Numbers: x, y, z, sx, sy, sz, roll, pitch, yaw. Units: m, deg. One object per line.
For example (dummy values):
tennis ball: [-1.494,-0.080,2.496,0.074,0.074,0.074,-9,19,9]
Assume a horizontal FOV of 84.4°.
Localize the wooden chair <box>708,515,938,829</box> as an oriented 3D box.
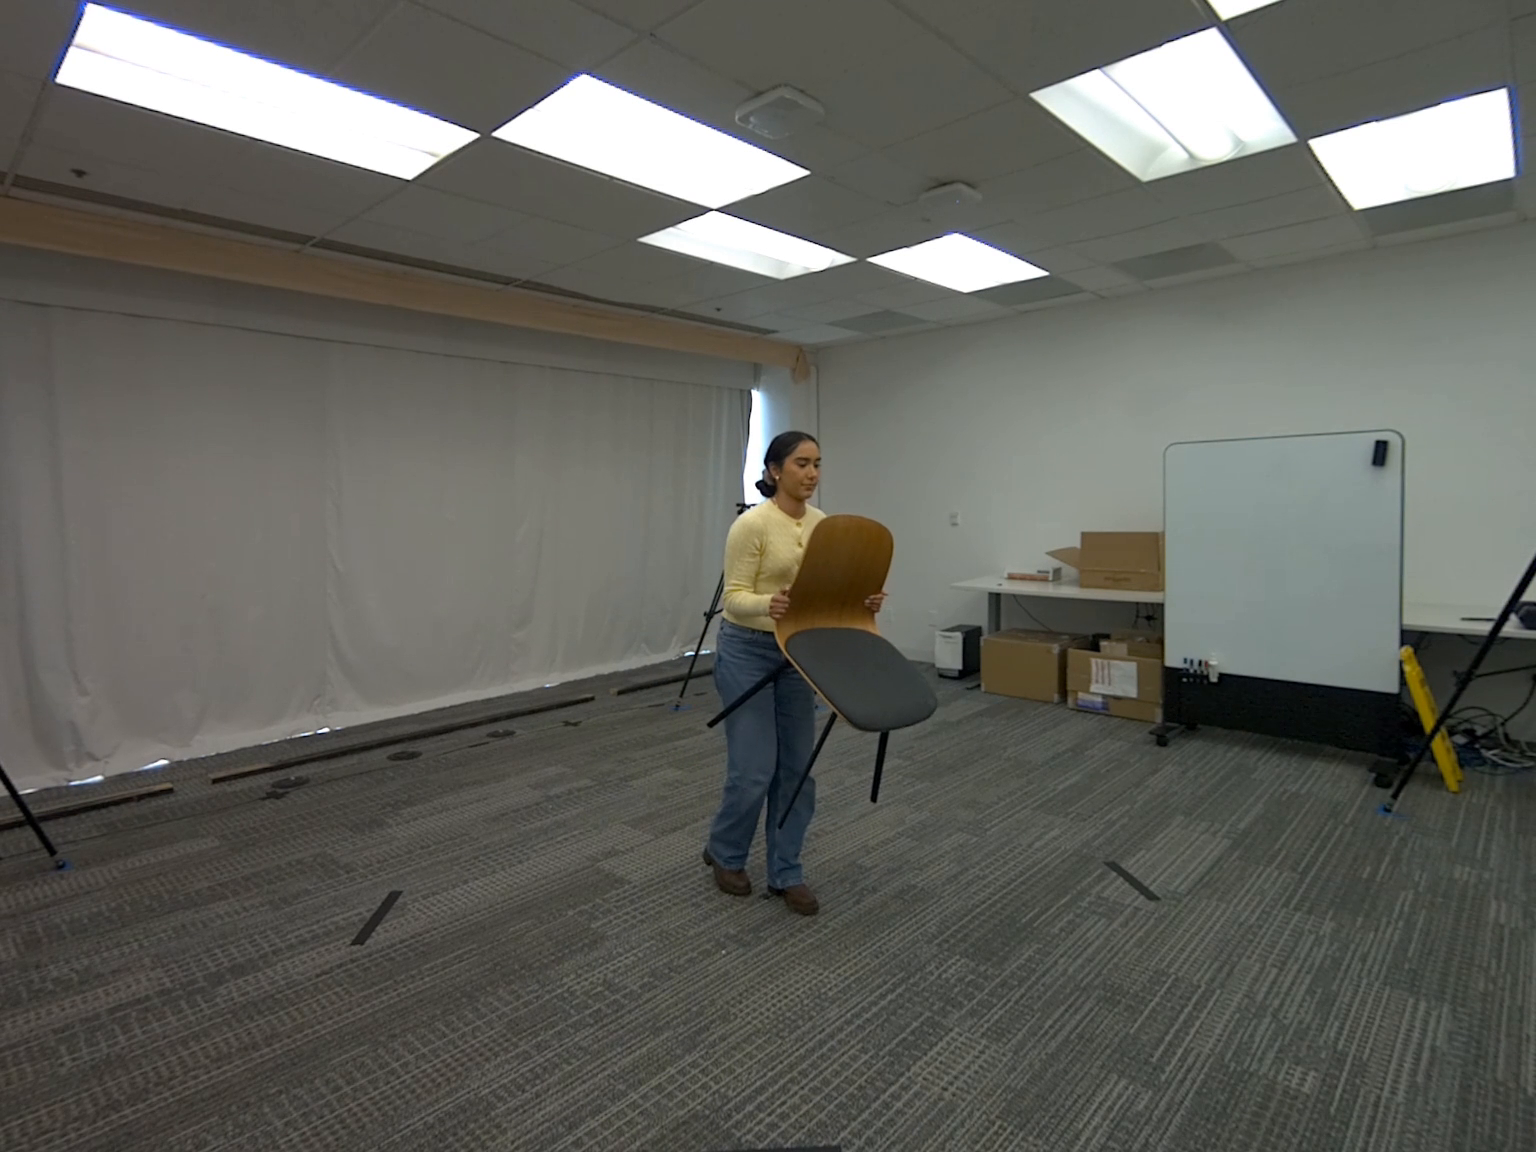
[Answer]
wooden chair: [0.264,0.314,2.685,0.463,0.873,0.542,0,32,-41]
